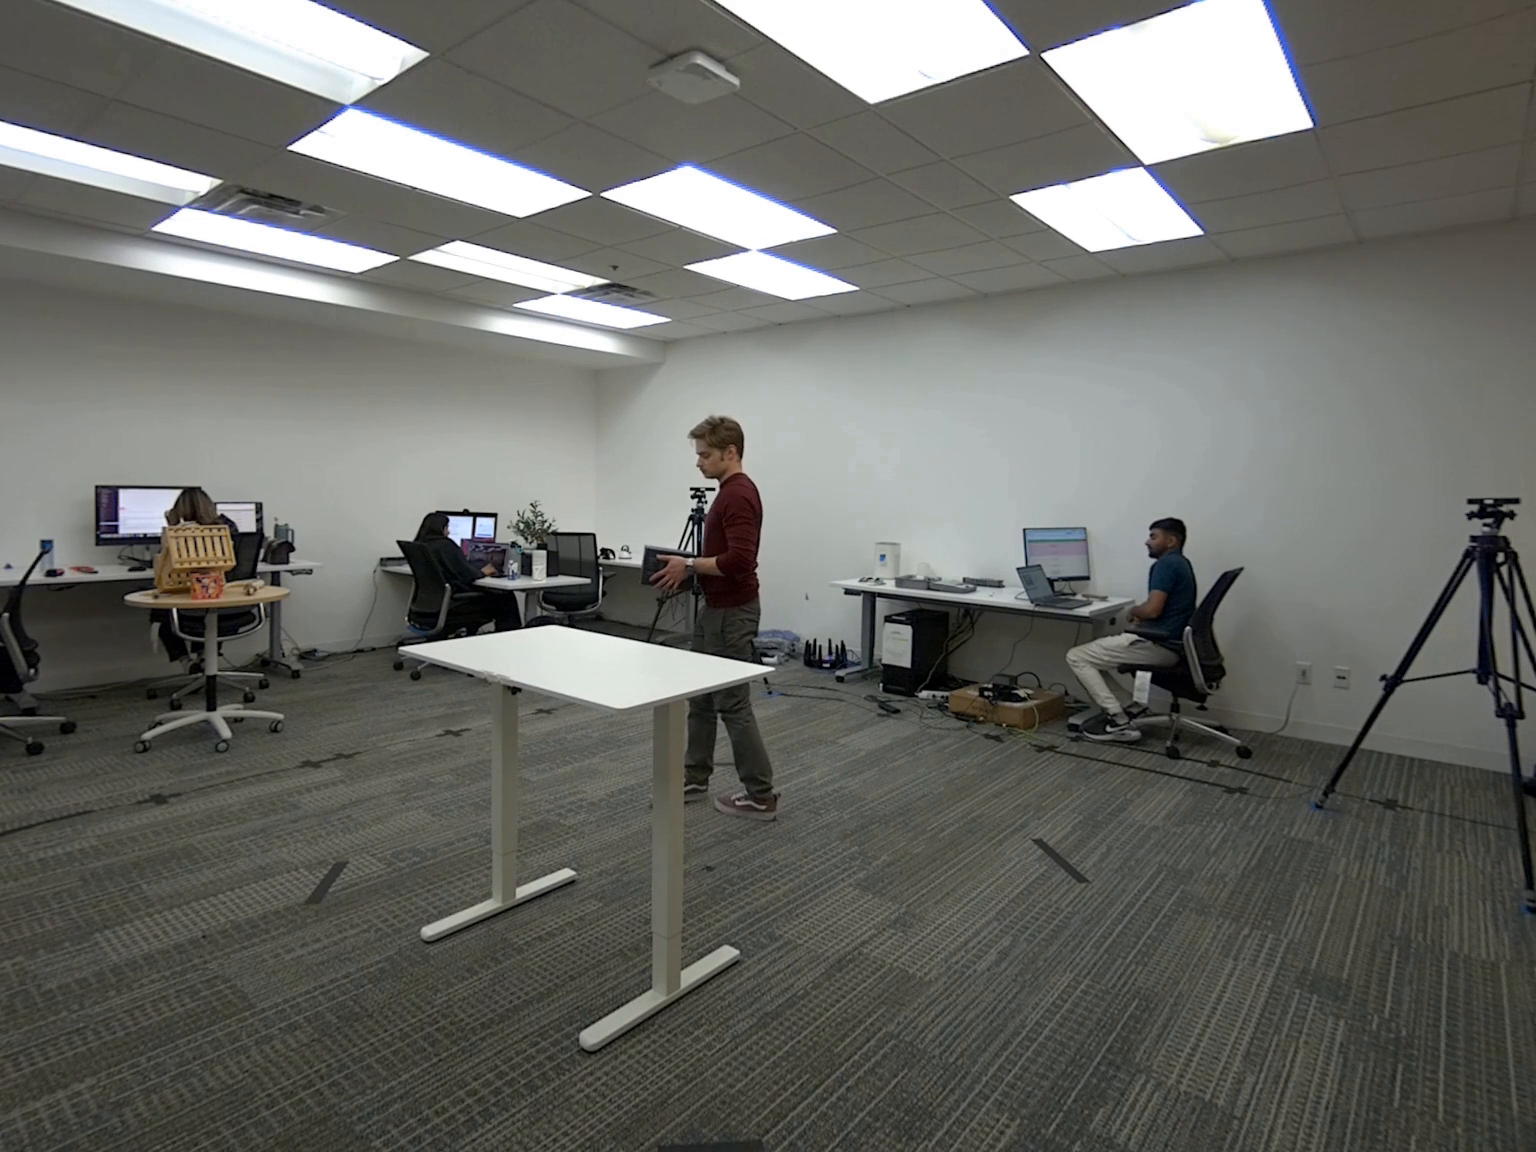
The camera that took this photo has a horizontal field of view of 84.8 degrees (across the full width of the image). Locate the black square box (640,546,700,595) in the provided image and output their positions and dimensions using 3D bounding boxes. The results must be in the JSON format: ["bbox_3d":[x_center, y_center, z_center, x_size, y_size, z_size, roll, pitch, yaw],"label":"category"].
[{"bbox_3d":[-0.445,-0.047,3.669,0.215,0.155,0.230,6,4,-7],"label":"black square box"}]
